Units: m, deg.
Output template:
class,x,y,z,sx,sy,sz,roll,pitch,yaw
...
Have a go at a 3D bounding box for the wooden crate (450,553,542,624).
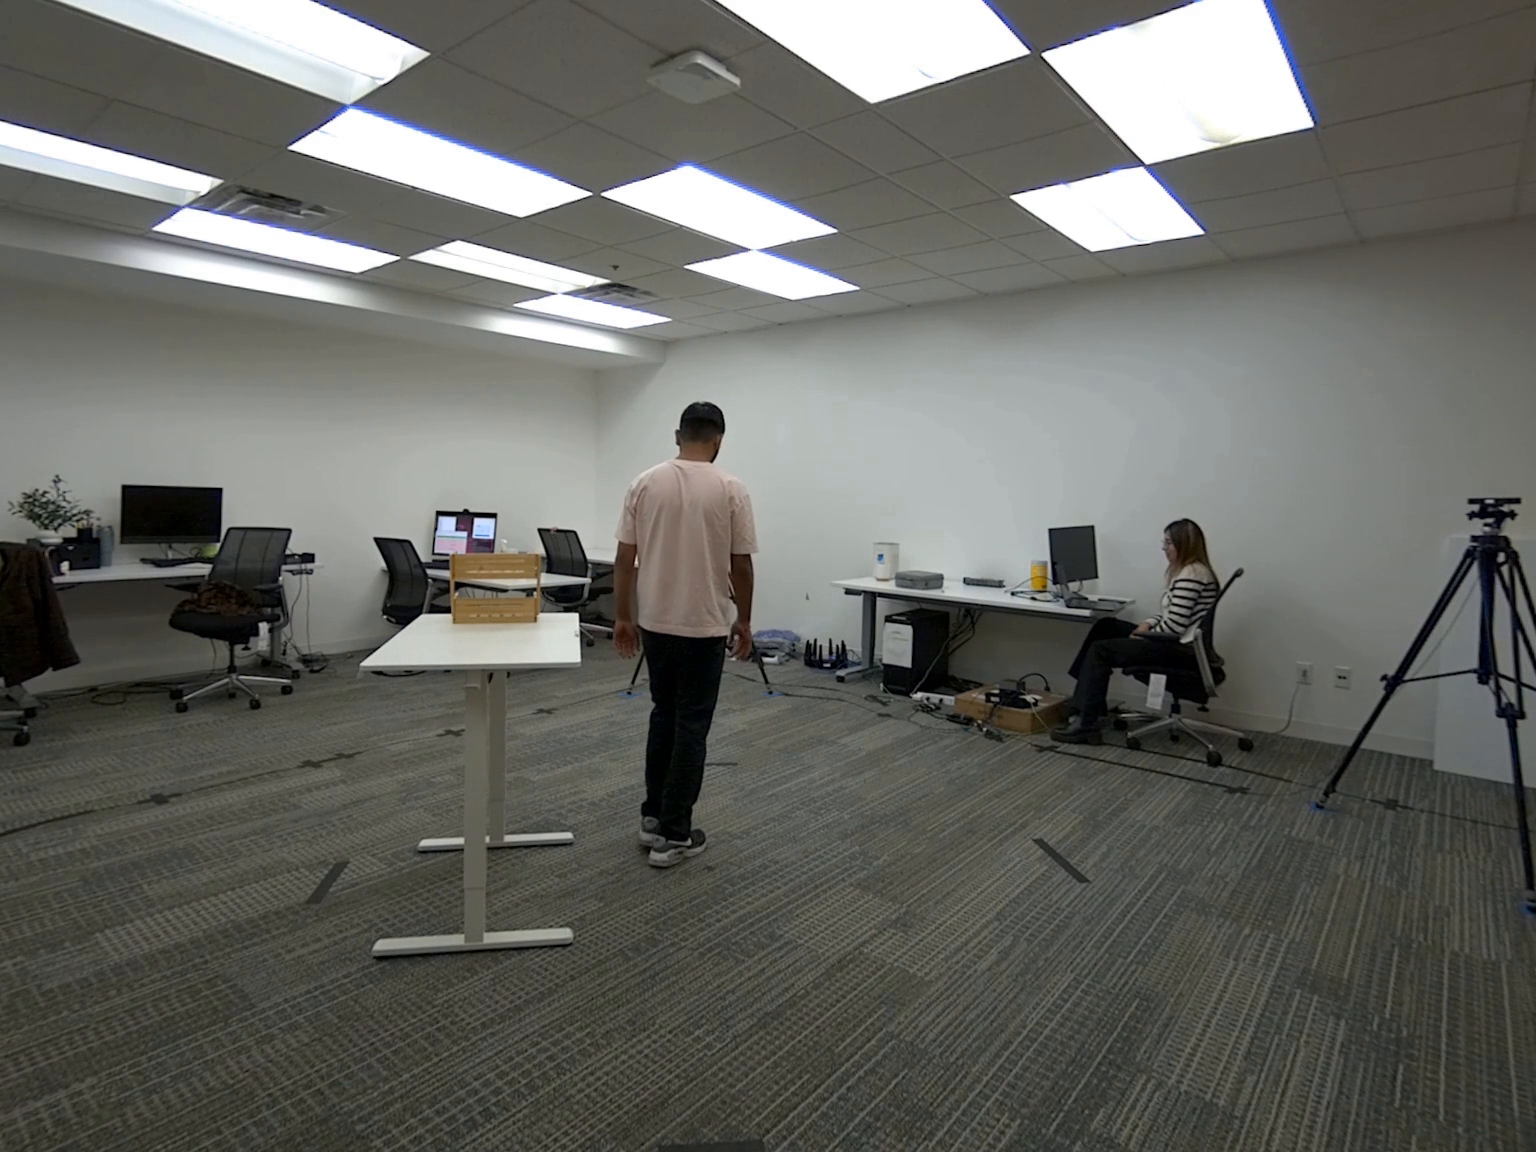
class,x,y,z,sx,sy,sz,roll,pitch,yaw
wooden crate,-1.048,0.032,3.227,0.320,0.272,0.307,0,4,-14
